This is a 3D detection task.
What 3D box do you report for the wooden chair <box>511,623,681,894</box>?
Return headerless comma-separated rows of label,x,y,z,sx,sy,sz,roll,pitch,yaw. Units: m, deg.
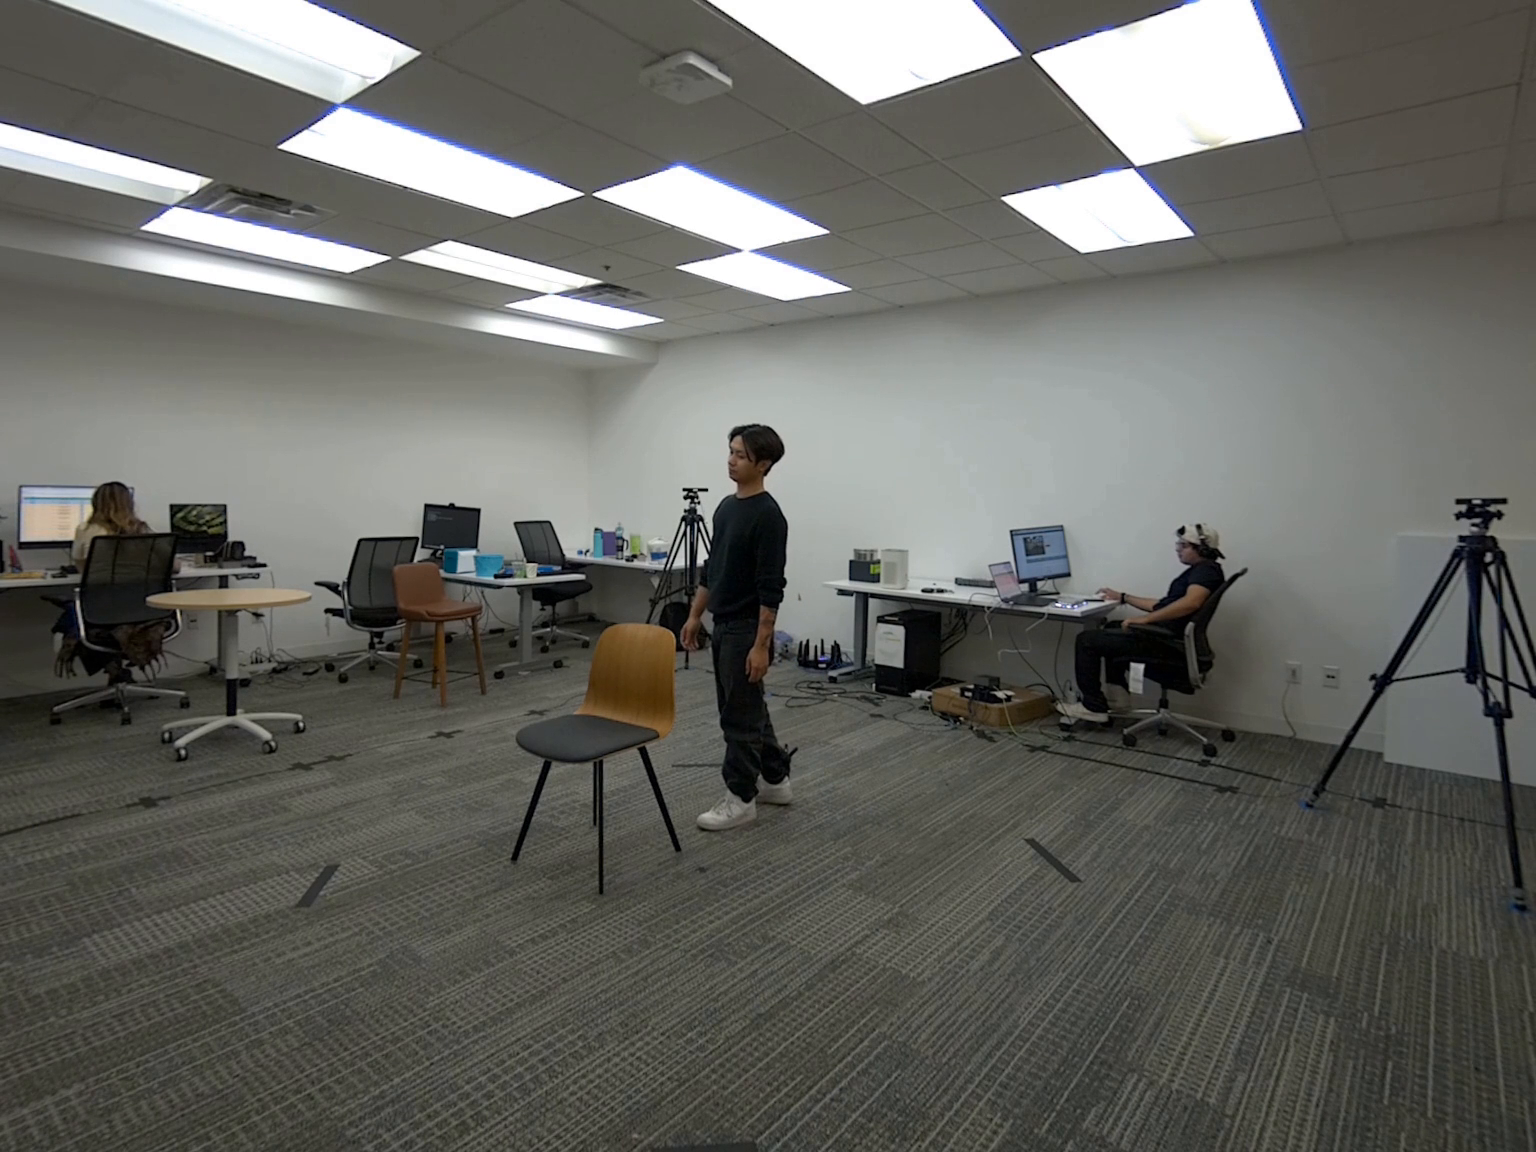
wooden chair,-0.645,0.627,3.169,0.493,0.878,0.507,3,-1,33
